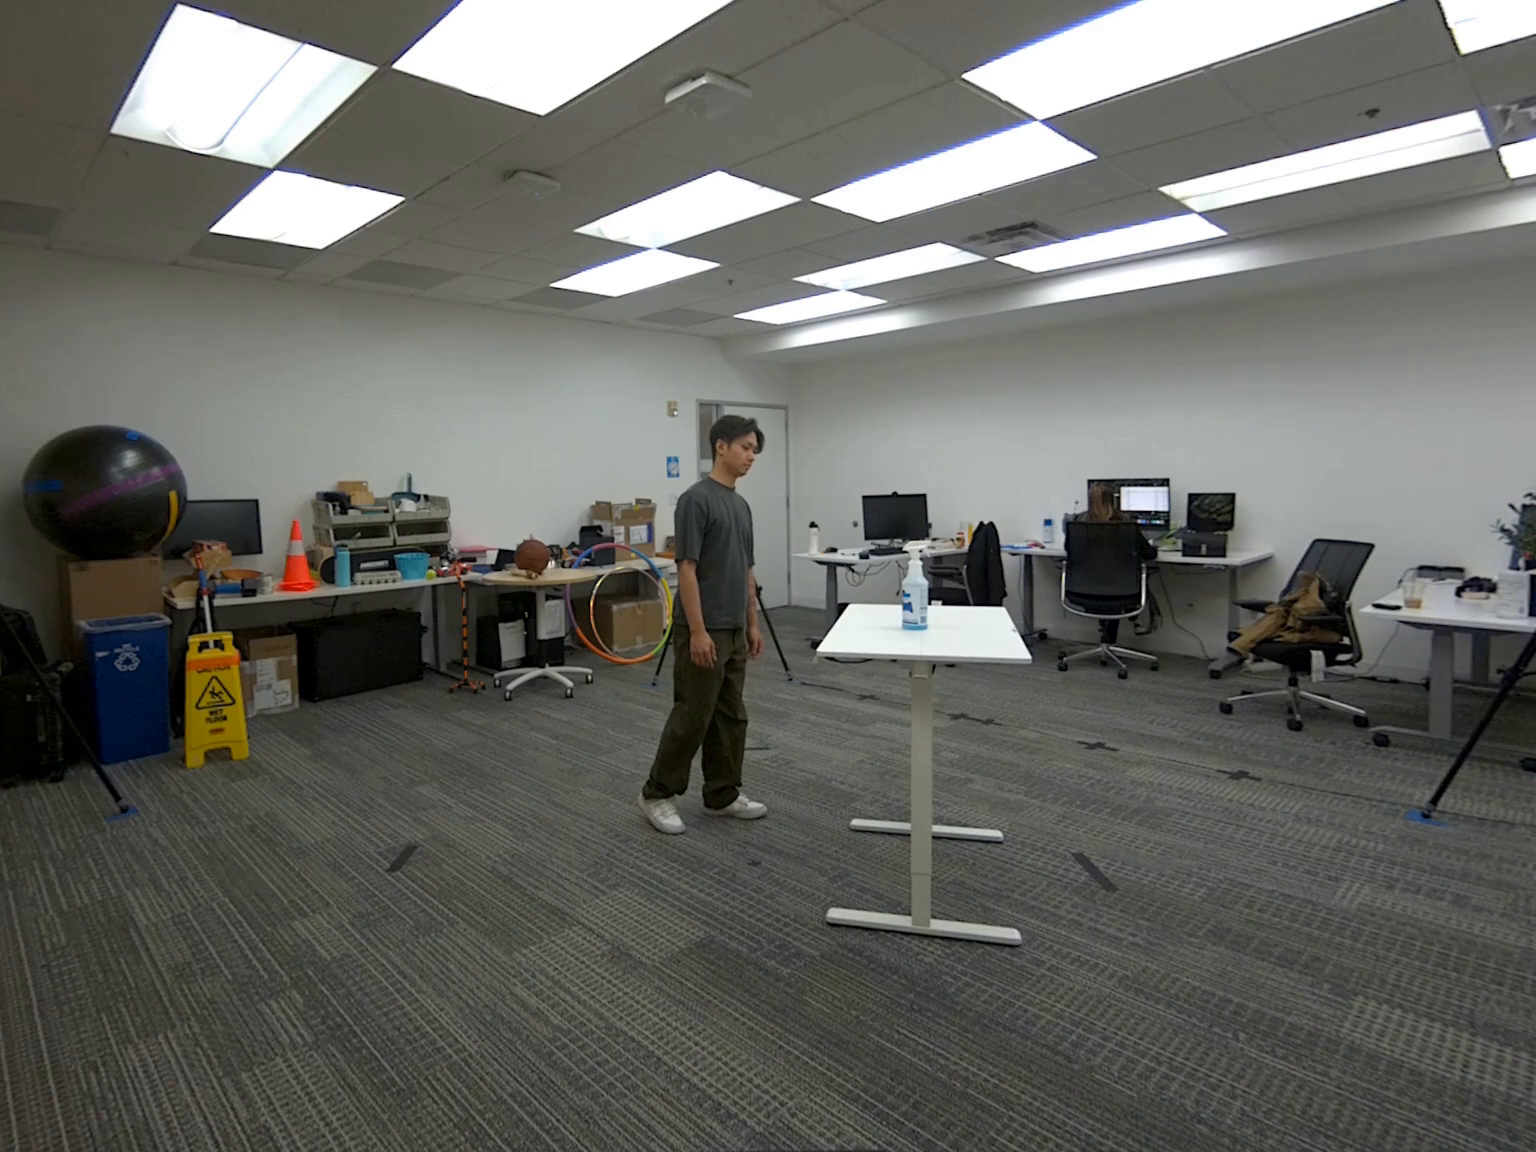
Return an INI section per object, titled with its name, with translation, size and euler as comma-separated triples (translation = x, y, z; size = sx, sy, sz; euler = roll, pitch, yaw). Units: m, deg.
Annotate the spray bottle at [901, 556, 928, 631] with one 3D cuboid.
[spray bottle]
translation = 0.503, 0.032, 2.882
size = 0.092, 0.296, 0.085
euler = 3, 5, 29
